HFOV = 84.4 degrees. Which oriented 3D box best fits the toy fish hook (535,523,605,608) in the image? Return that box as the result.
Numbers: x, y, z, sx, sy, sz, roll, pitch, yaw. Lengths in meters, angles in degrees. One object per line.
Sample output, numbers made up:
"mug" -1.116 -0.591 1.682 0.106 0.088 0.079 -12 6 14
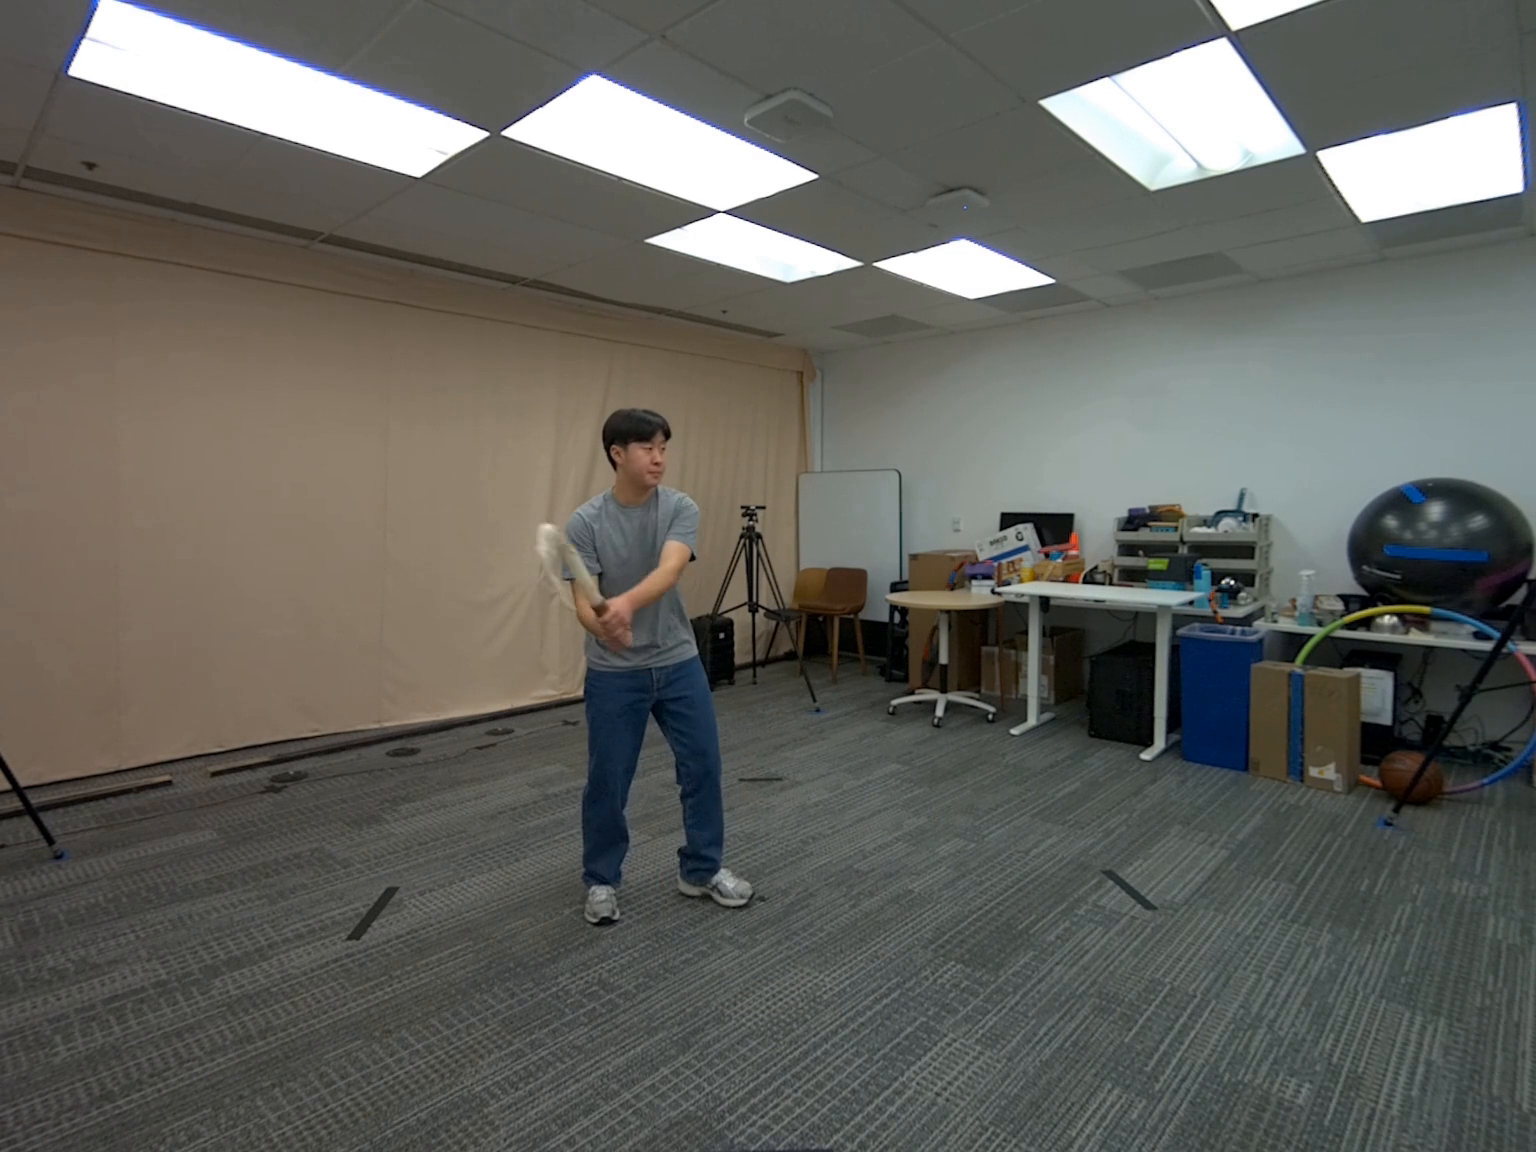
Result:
"toy fish hook" -0.473 0.096 2.332 0.049 0.491 0.229 -16 41 12
